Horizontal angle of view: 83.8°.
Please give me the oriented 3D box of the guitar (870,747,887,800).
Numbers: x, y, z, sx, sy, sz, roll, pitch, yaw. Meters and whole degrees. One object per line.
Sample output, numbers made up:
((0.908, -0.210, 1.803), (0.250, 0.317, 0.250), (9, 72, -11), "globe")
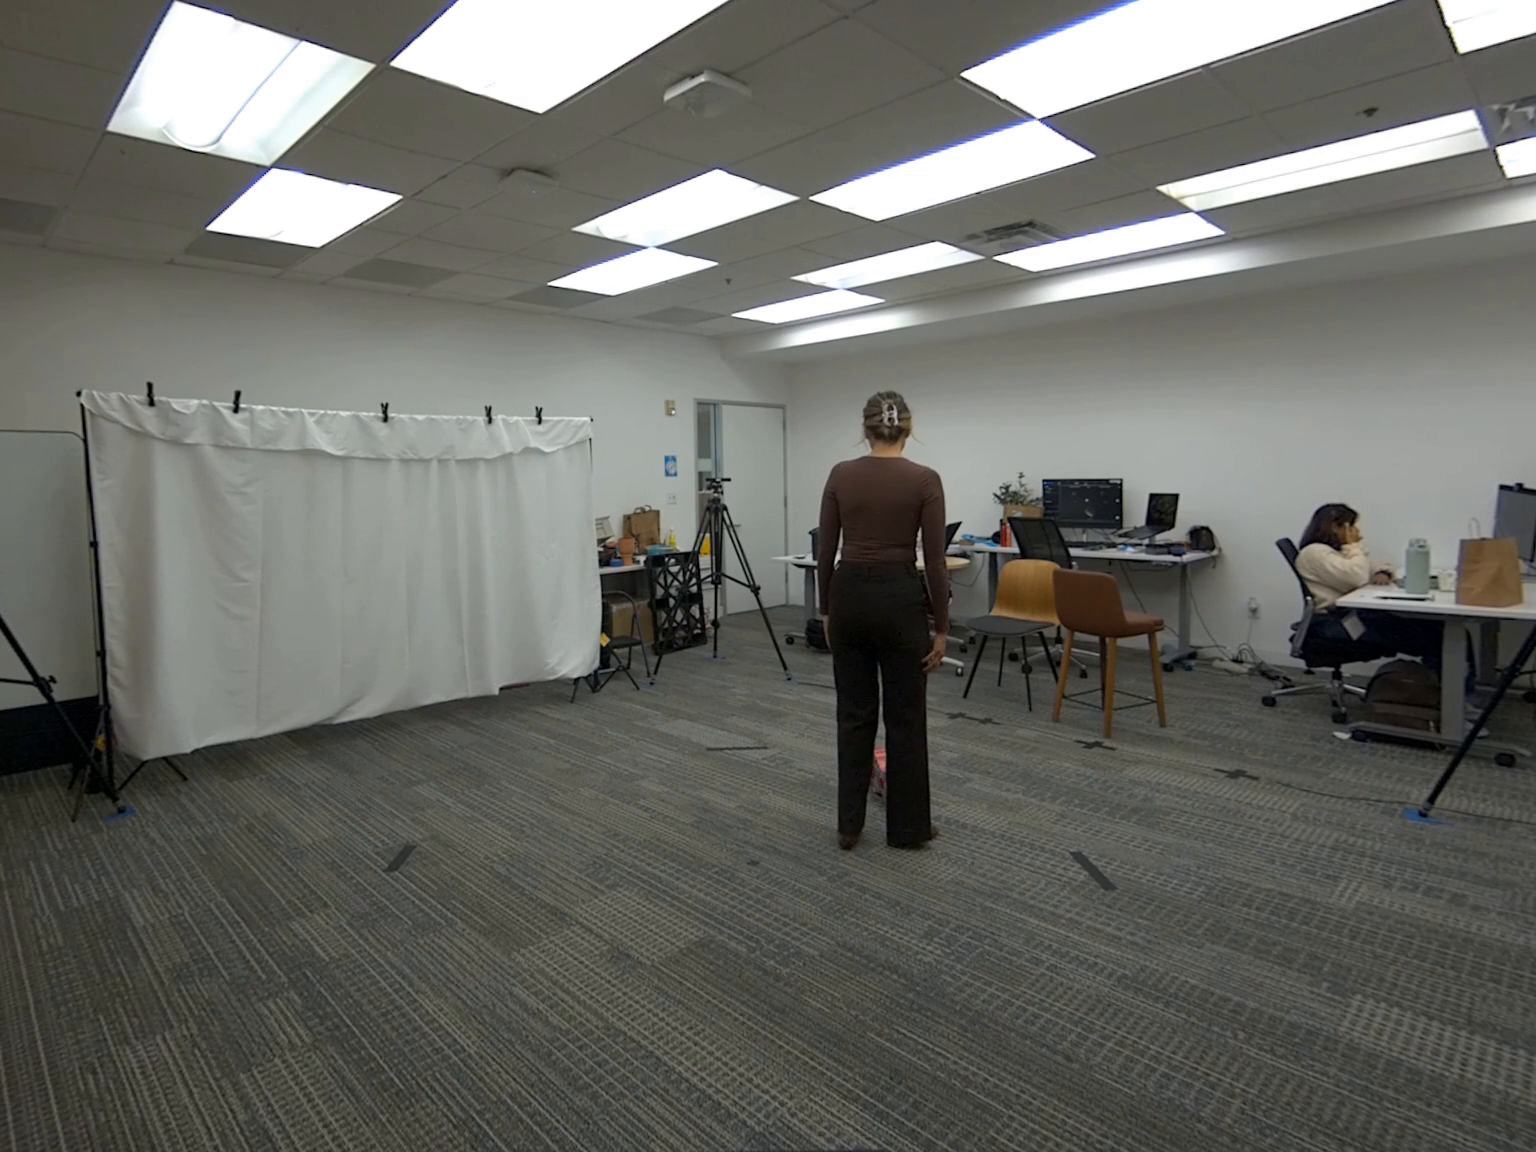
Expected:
((0.535, 0.933, 3.615), (0.070, 0.189, 0.512), (-4, 24, -12), "guitar")
